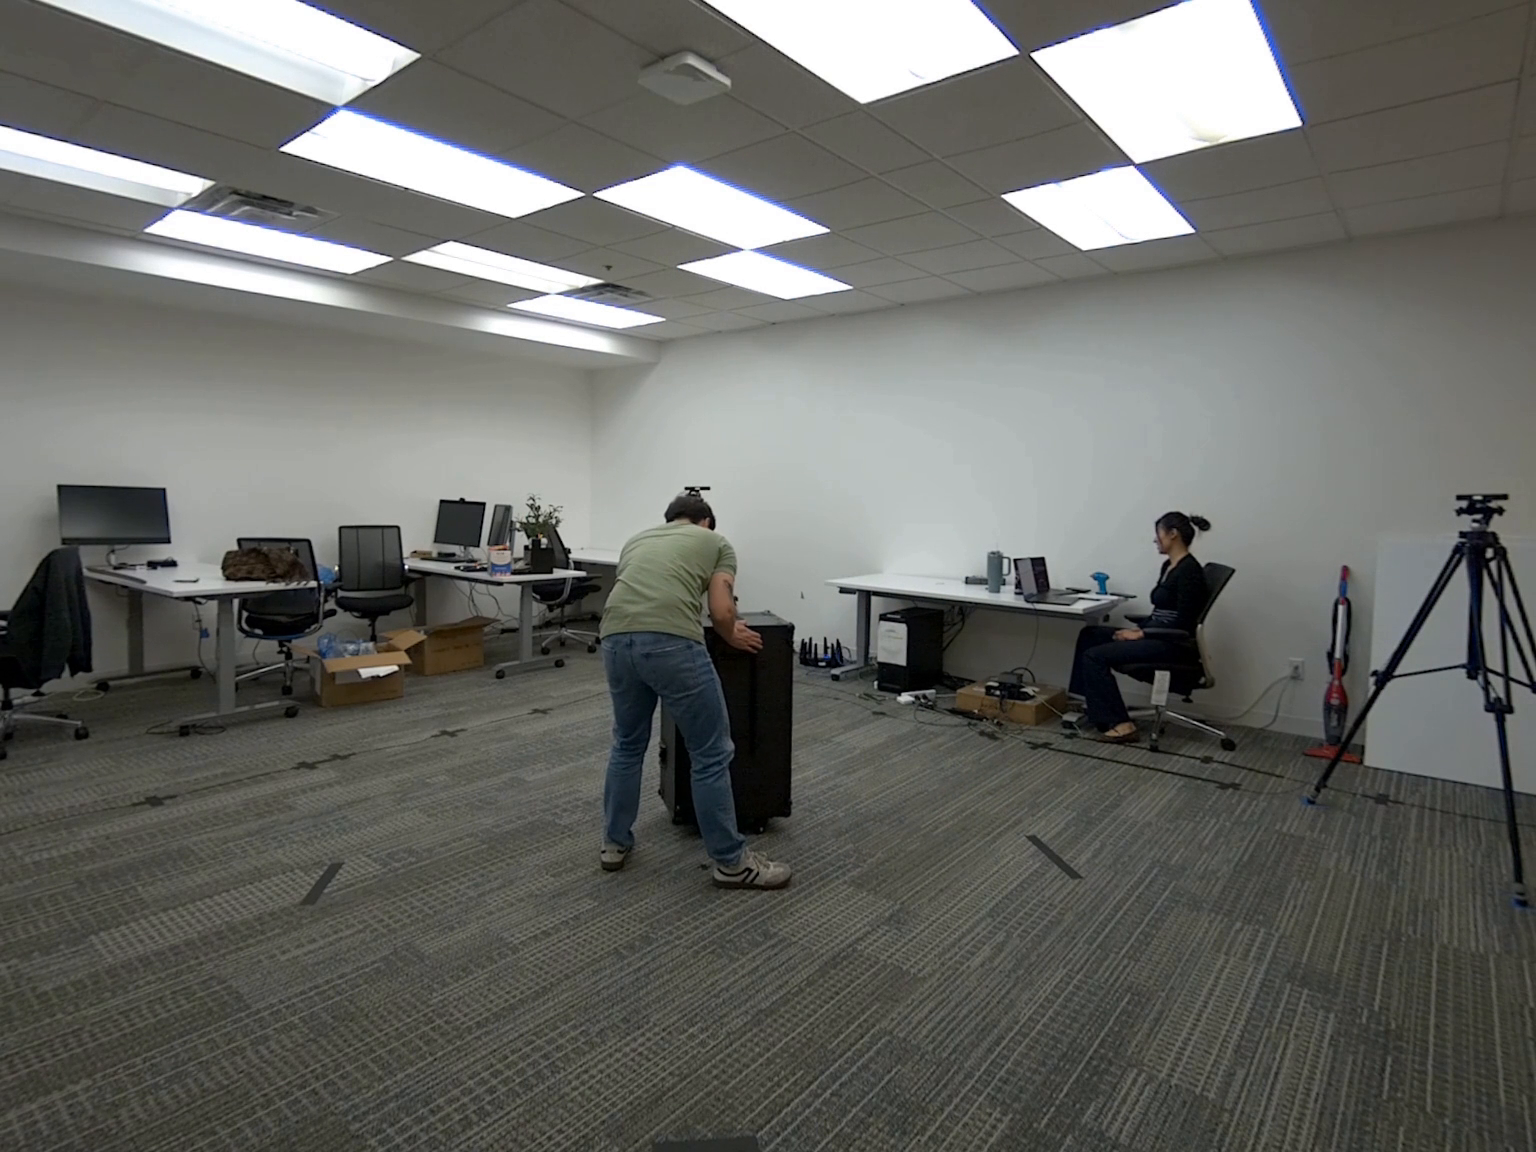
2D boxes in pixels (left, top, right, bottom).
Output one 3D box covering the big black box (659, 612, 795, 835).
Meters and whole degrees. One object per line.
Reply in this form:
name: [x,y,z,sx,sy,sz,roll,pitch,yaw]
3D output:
big black box: [-0.188,0.543,3.516,0.514,0.859,0.403,0,3,-14]
